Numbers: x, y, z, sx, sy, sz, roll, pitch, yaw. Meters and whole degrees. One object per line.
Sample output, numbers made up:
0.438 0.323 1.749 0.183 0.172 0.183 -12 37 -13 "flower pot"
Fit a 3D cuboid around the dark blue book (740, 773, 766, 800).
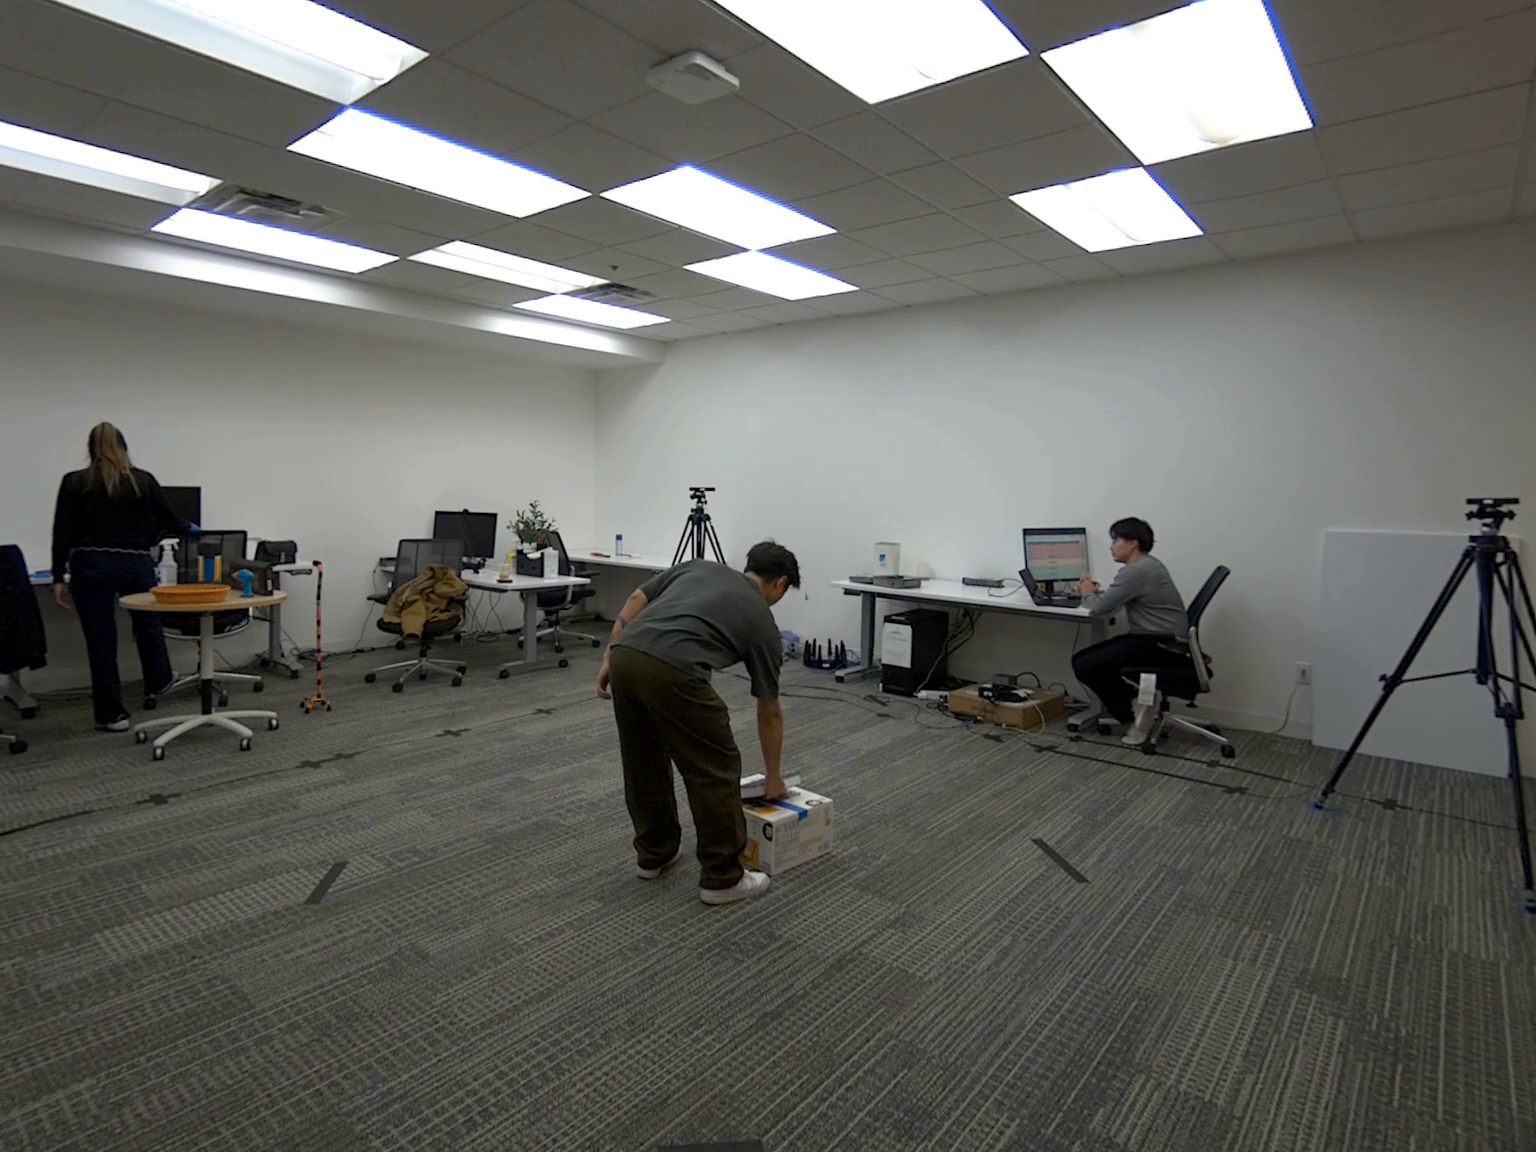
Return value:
-0.022 0.810 3.299 0.238 0.045 0.166 -6 -9 -40 "dark blue book"
